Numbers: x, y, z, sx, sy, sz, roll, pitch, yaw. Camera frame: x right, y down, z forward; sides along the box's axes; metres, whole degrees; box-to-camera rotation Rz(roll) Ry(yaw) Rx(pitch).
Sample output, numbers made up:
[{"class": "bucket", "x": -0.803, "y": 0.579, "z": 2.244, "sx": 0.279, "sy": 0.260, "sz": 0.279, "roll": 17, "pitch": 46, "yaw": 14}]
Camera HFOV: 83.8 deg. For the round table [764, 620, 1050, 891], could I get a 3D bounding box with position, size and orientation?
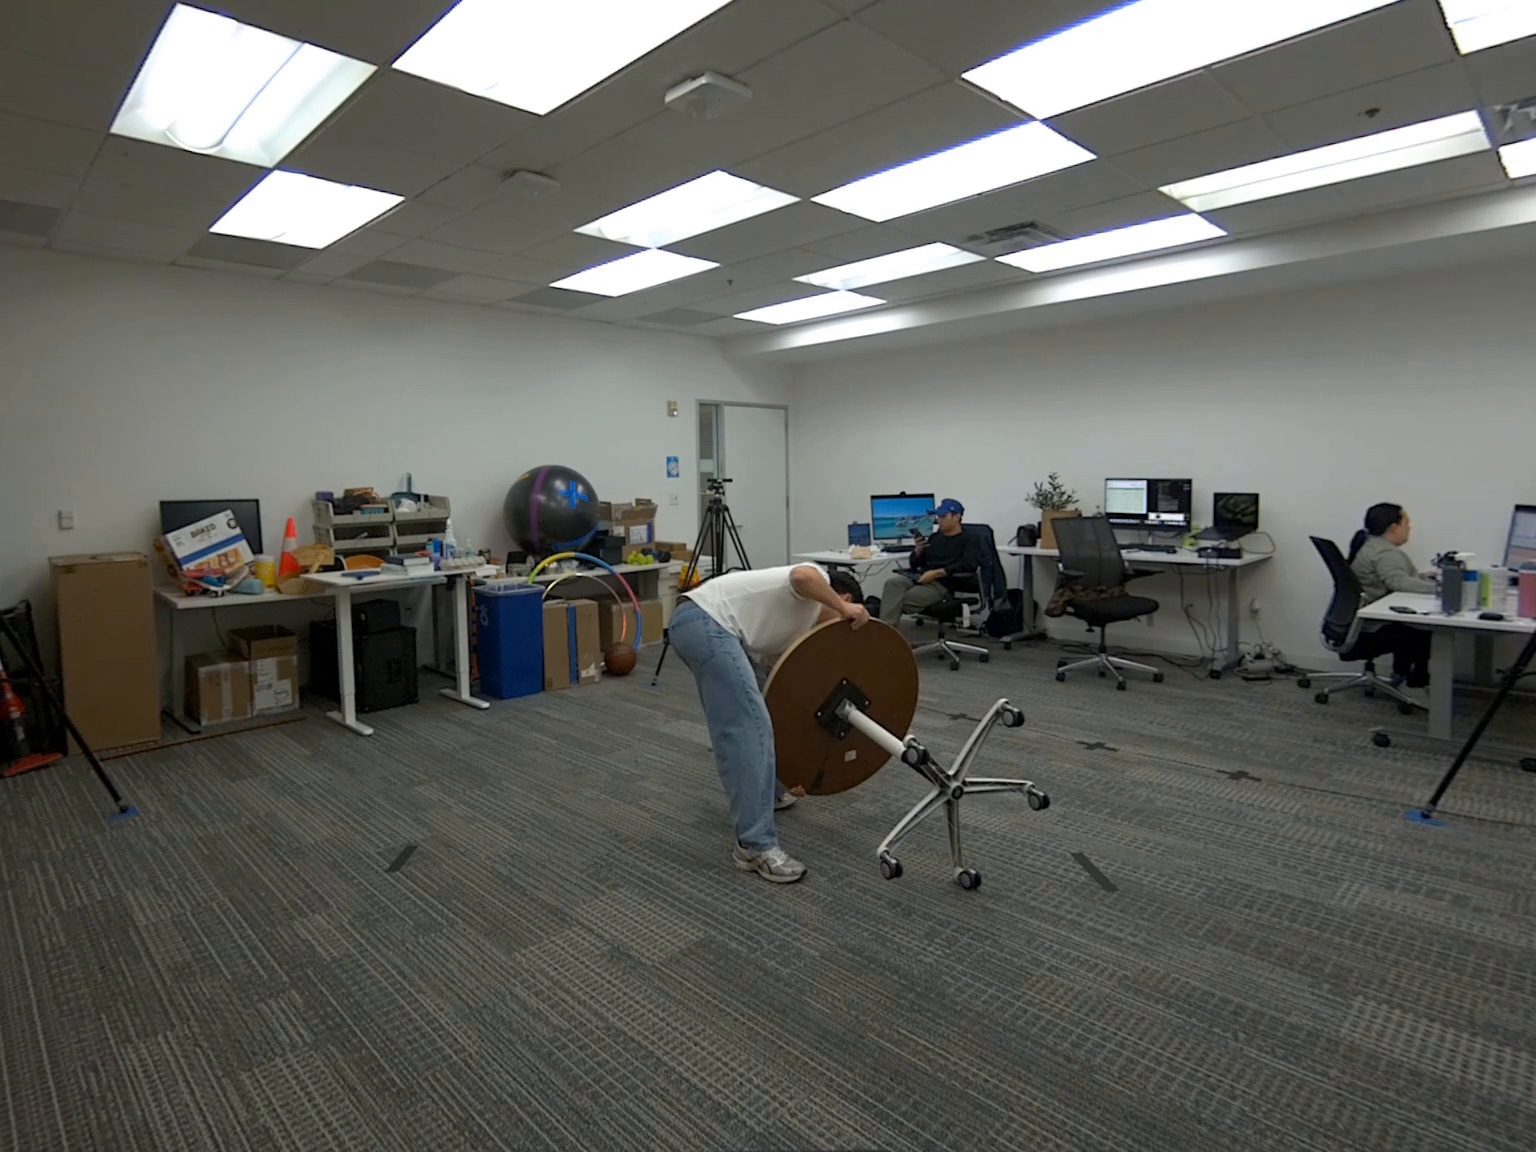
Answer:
[{"class": "round table", "x": 0.487, "y": 0.643, "z": 3.110, "sx": 0.747, "sy": 0.755, "sz": 0.821, "roll": -3, "pitch": 17, "yaw": -28}]
